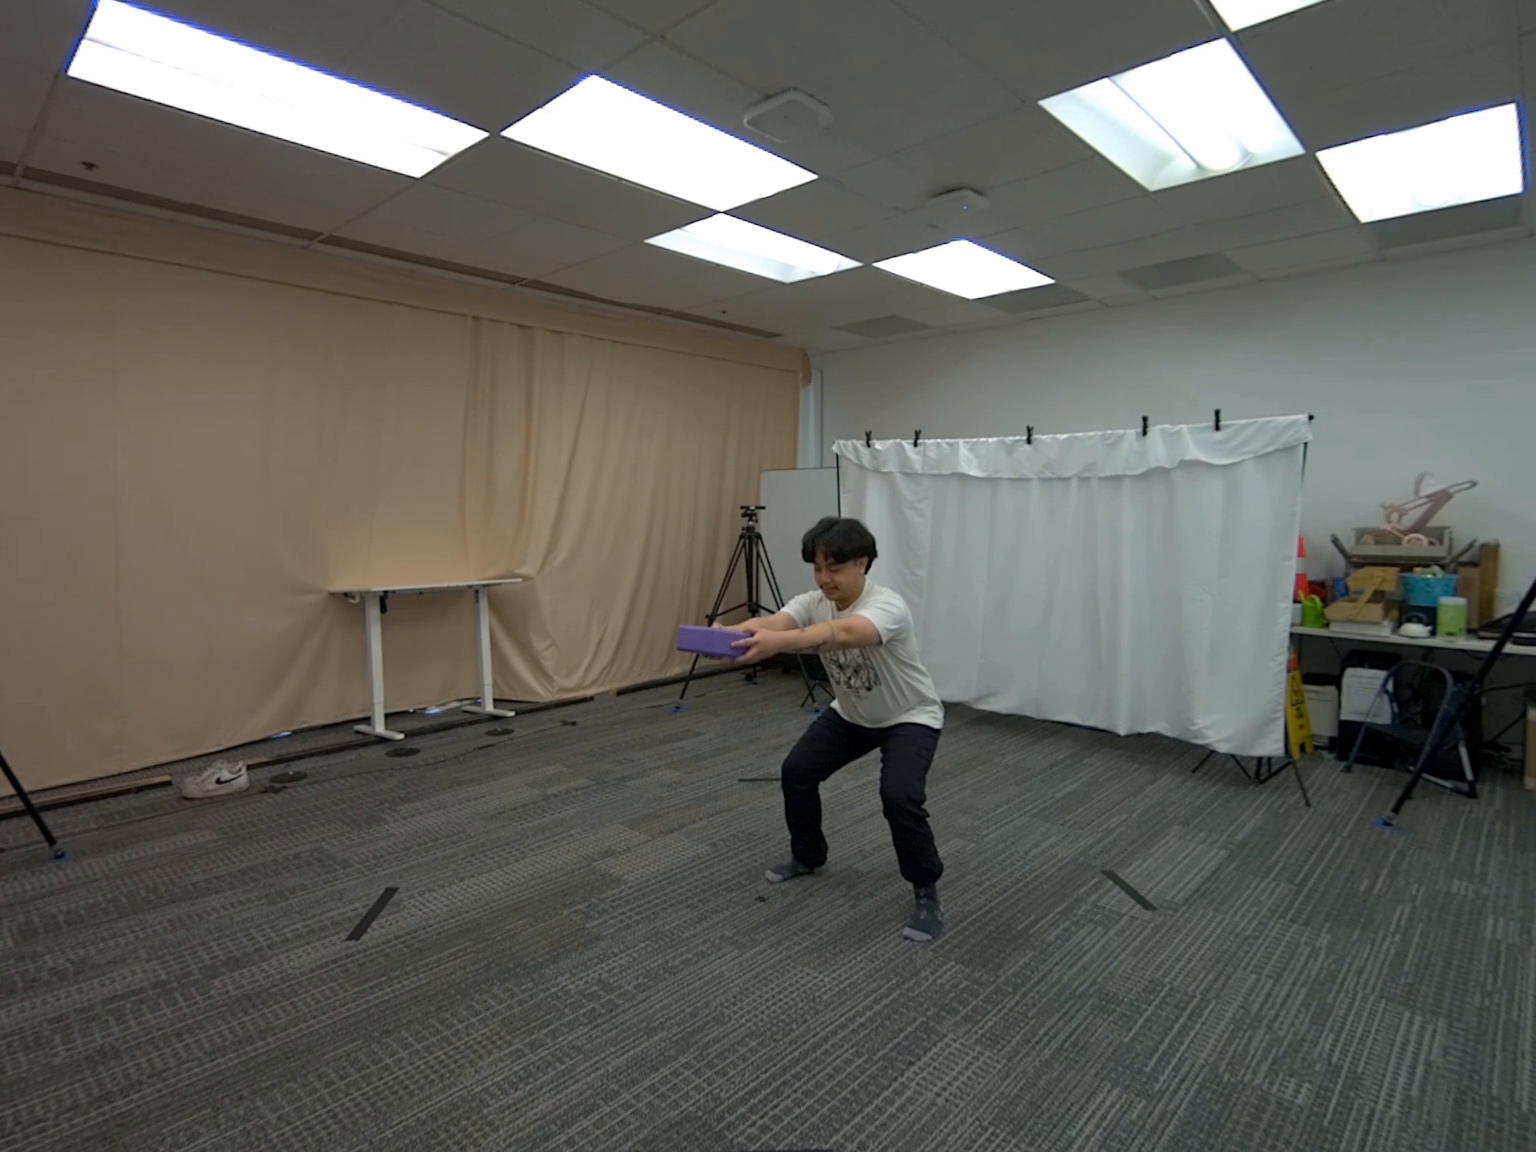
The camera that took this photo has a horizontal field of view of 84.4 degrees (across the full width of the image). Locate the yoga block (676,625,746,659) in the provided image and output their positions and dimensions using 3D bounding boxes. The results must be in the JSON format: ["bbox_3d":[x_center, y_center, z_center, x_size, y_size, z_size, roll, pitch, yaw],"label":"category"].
[{"bbox_3d":[-0.145,0.184,2.485,0.153,0.076,0.222,3,-4,29],"label":"yoga block"}]
